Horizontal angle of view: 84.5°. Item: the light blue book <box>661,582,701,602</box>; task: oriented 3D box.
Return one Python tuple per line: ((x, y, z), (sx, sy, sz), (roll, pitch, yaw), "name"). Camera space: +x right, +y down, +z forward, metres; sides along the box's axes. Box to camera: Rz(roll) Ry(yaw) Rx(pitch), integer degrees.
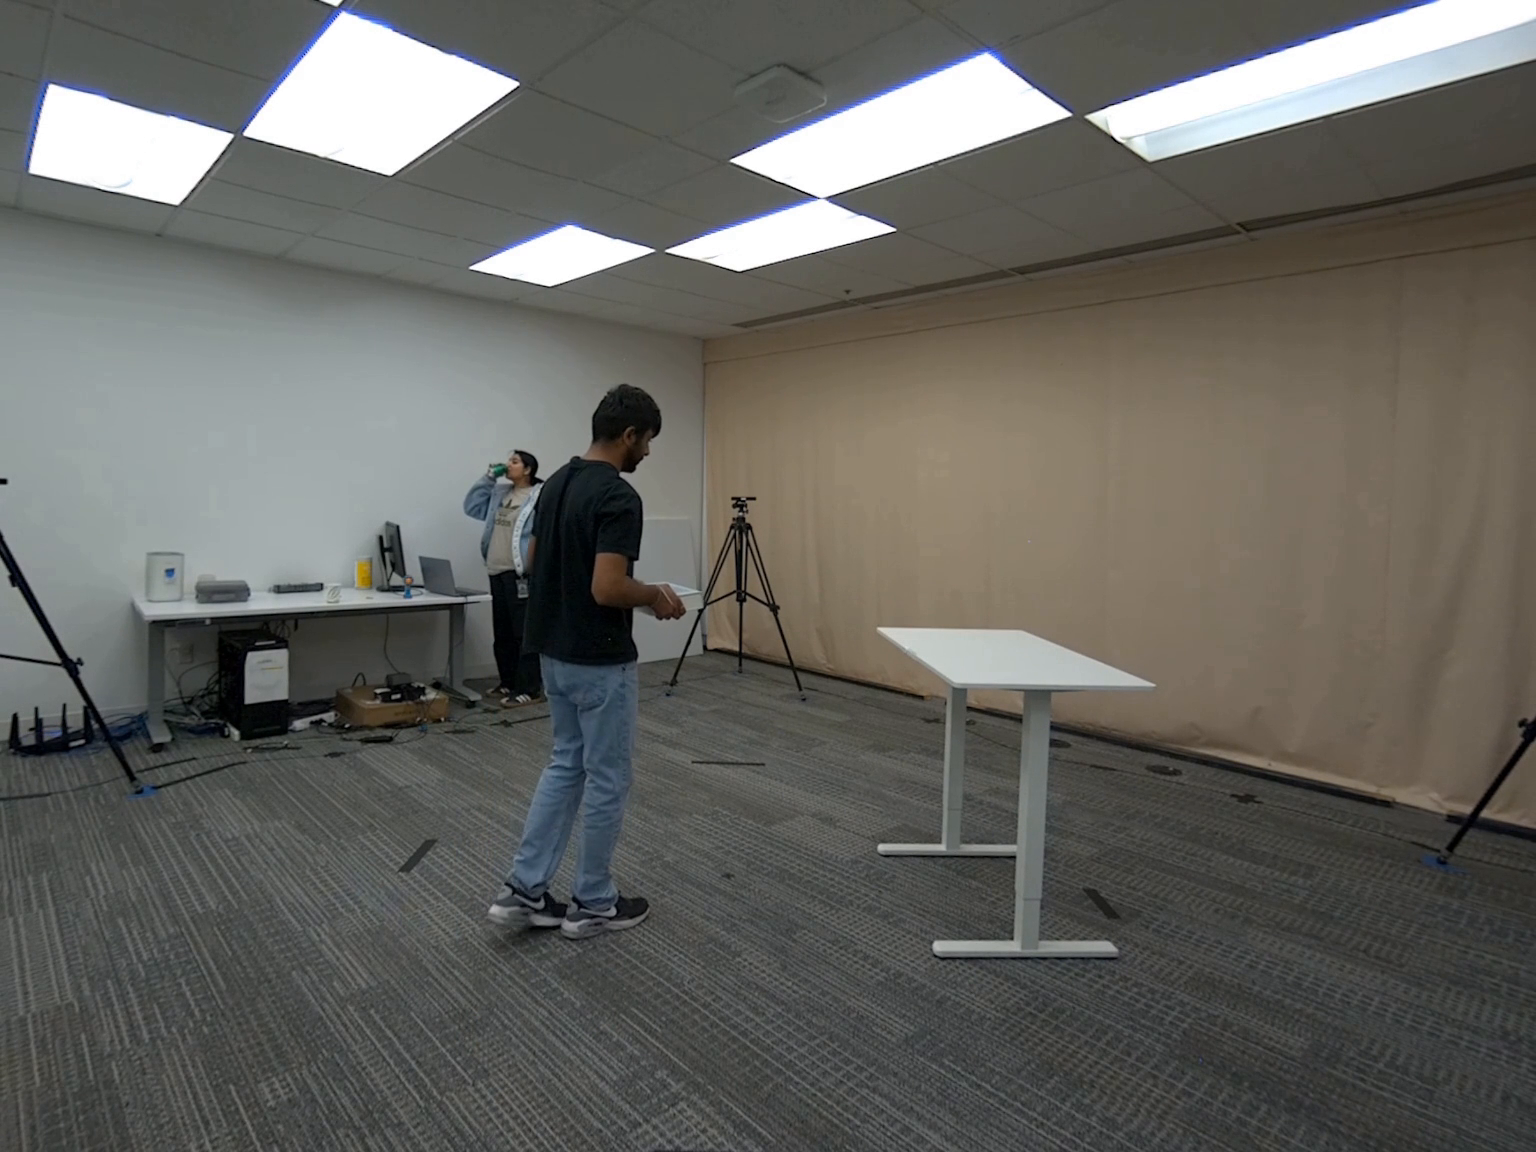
((-0.370, 0.076, 2.825), (0.189, 0.058, 0.266), (-6, 10, -21), "light blue book")
